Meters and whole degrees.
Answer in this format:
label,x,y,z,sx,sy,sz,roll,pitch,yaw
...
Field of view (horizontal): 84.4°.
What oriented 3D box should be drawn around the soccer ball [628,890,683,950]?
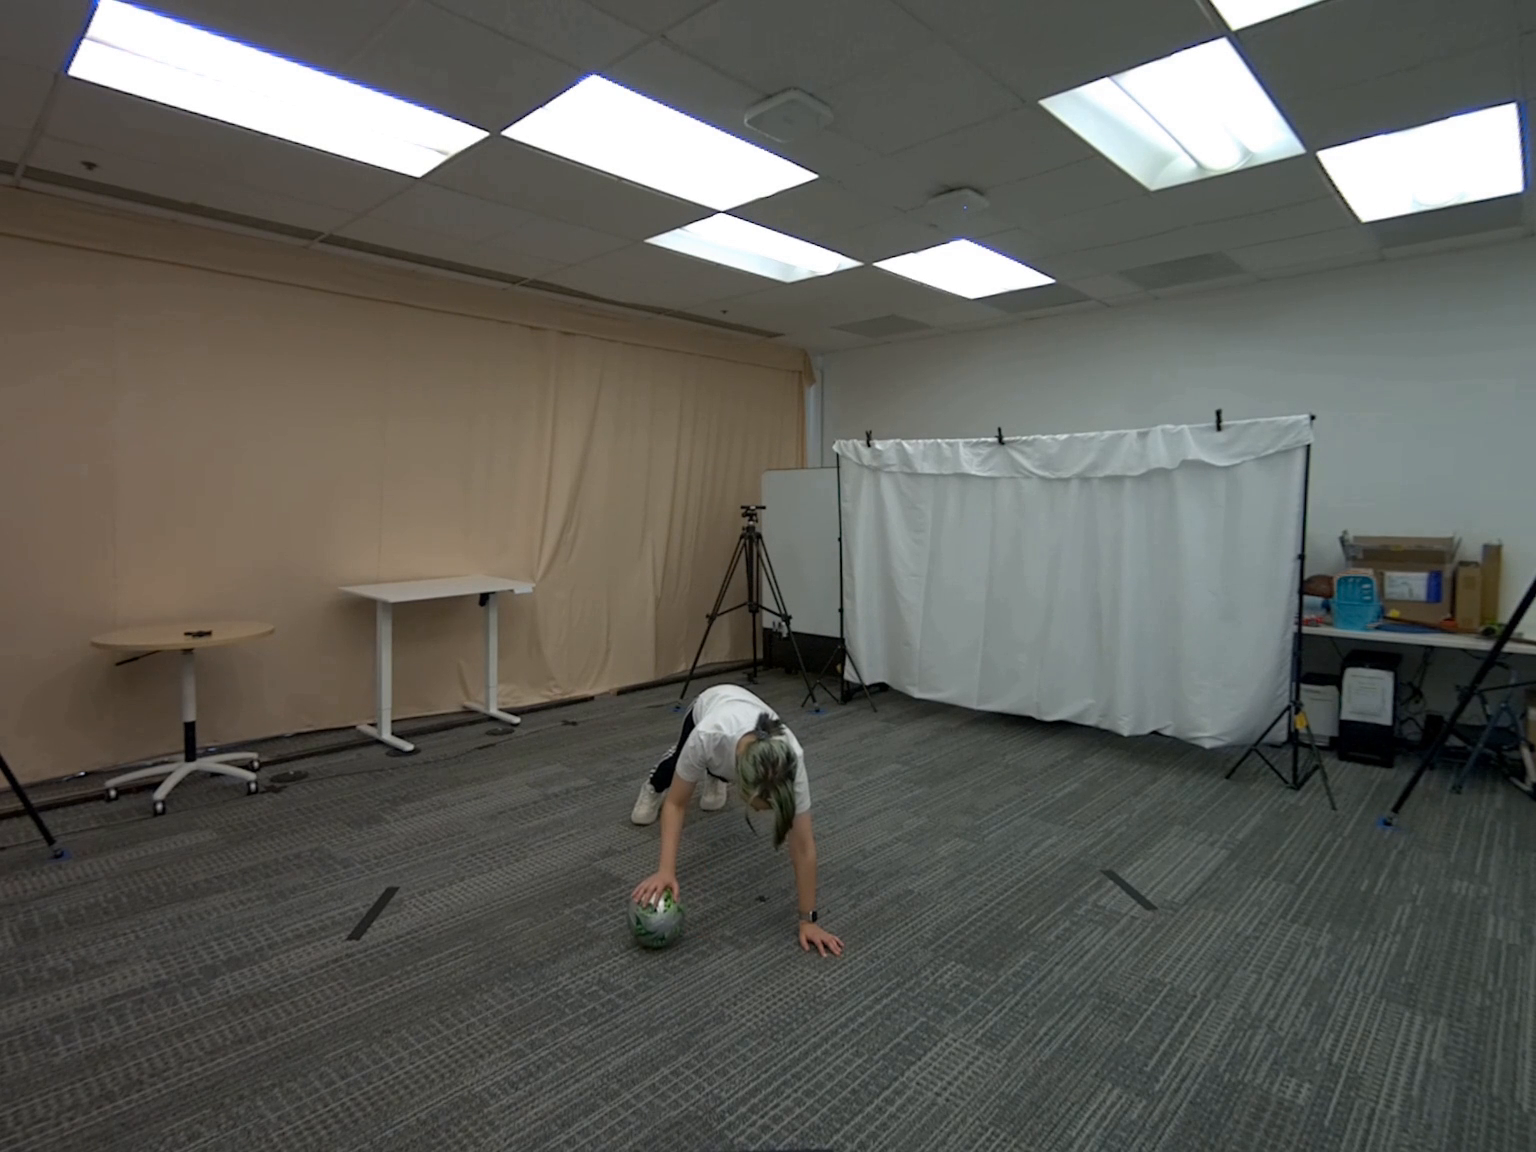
label,x,y,z,sx,sy,sz,roll,pitch,yaw
soccer ball,-0.364,1.077,2.684,0.187,0.187,0.188,0,4,-2
